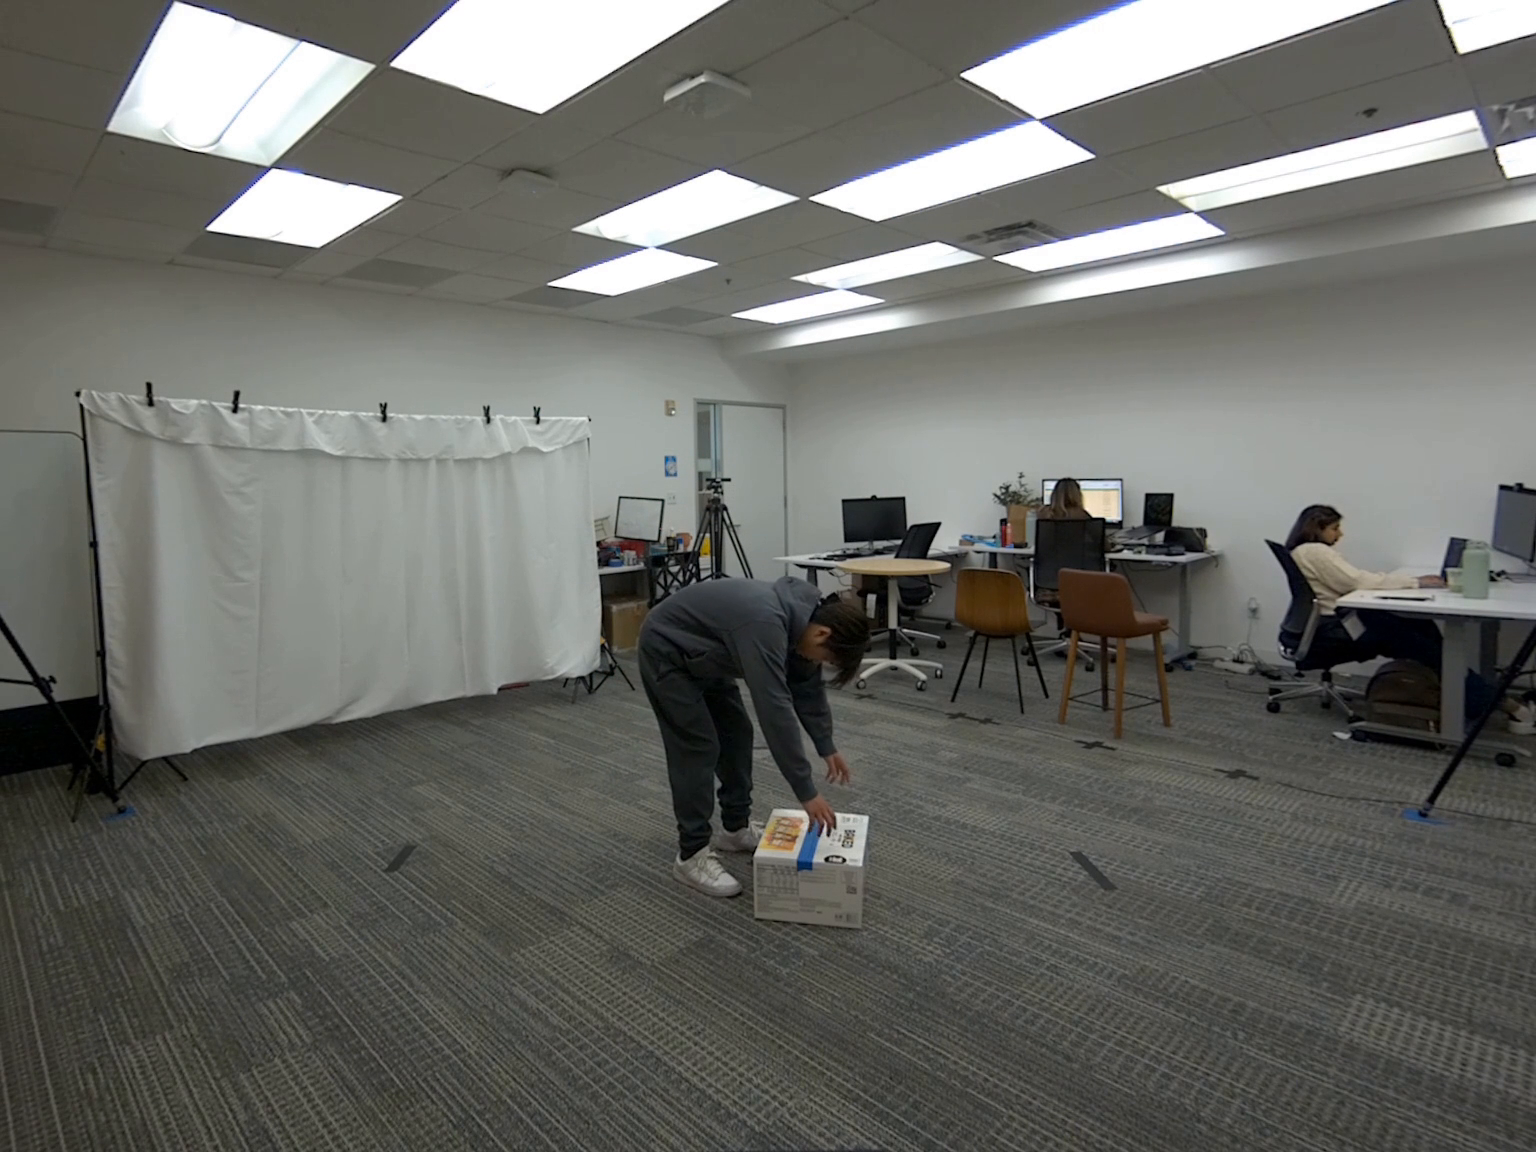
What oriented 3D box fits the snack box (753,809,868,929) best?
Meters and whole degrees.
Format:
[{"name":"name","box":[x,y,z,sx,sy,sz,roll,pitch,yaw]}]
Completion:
[{"name":"snack box","box":[0.161,0.966,2.855,0.344,0.205,0.402,0,6,11]}]
